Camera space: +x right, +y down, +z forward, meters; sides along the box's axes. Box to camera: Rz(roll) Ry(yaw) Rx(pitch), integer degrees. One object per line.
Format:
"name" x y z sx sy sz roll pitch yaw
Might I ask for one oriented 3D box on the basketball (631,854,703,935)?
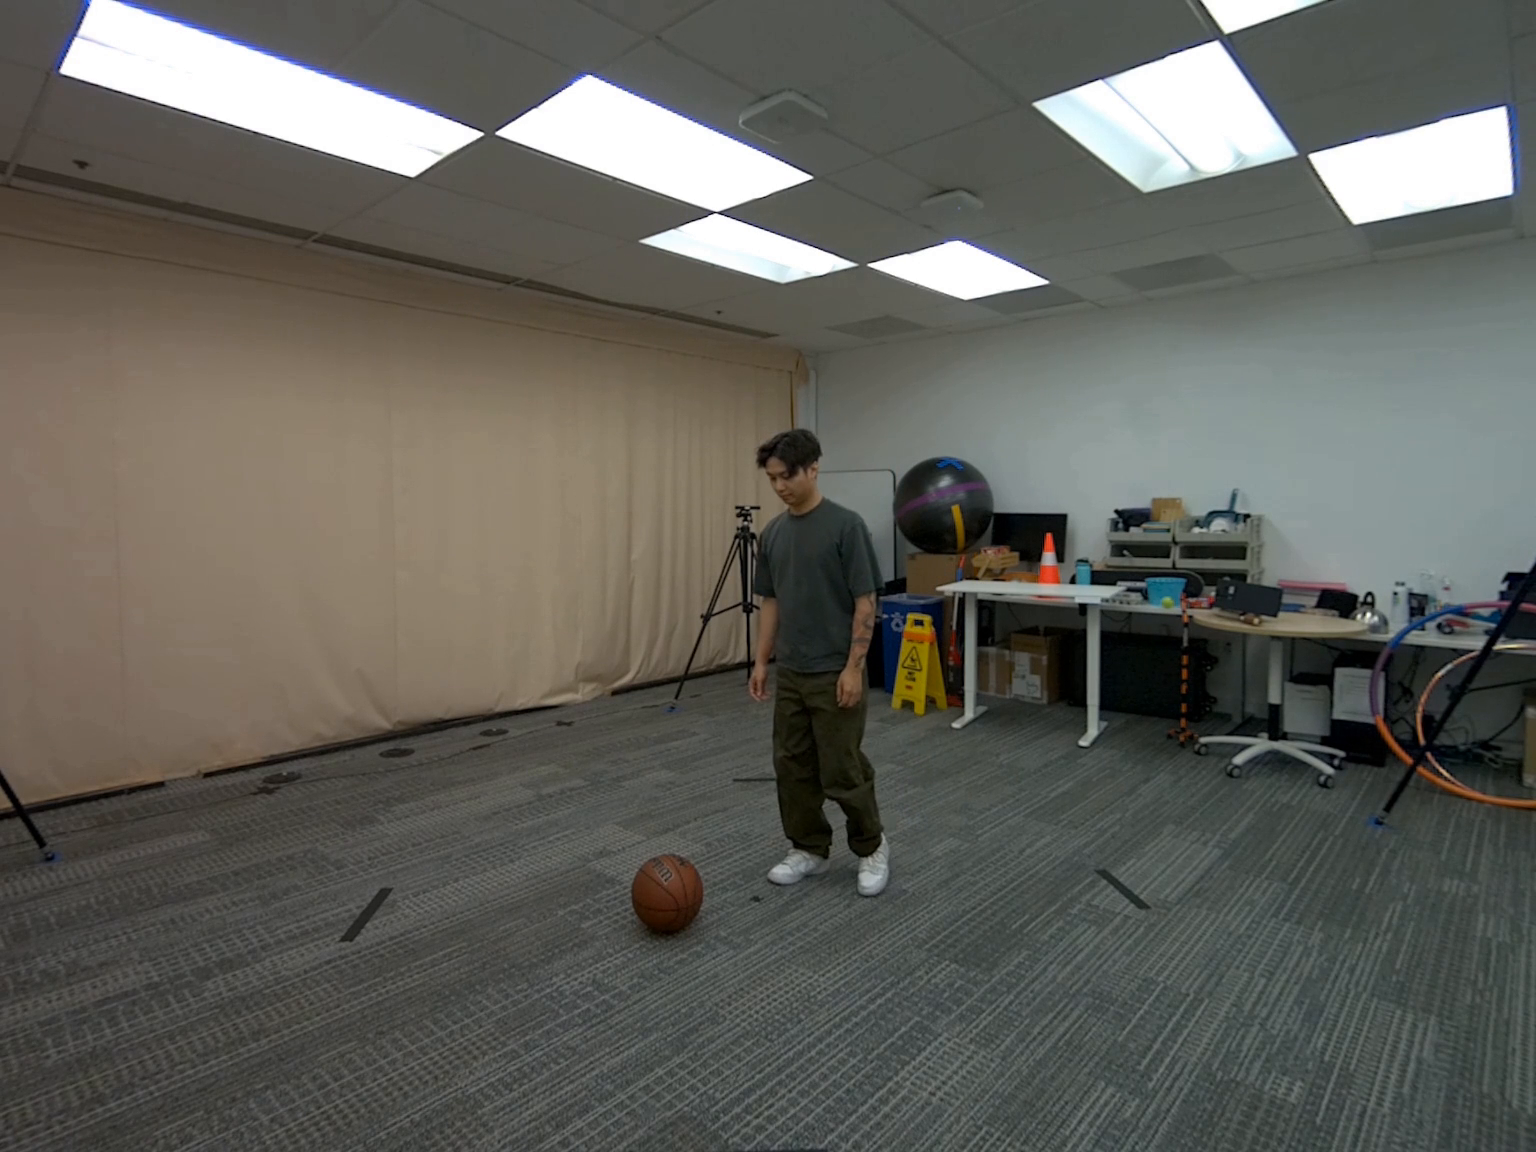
"basketball" -0.325 1.039 2.773 0.236 0.235 0.237 0 4 -2
